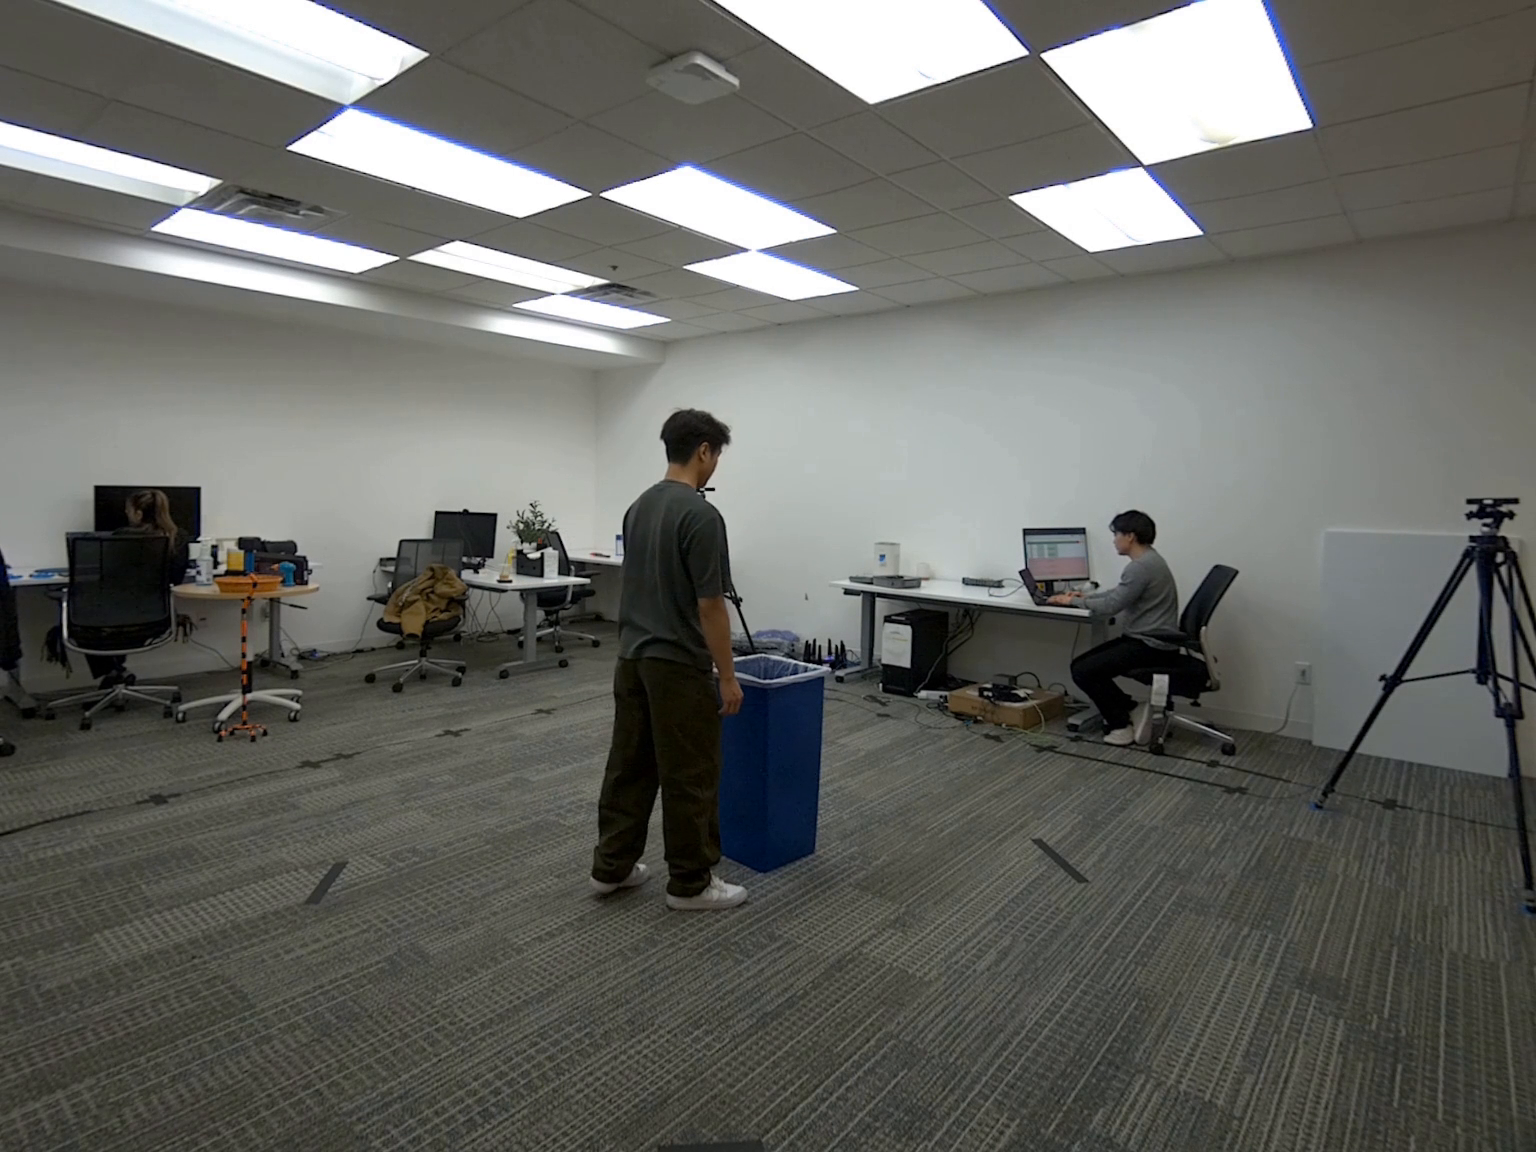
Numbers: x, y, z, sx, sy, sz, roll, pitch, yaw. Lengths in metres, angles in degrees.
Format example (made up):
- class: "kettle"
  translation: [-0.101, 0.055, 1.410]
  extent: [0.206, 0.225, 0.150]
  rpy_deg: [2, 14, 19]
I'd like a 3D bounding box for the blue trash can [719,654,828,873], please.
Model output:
- class: "blue trash can"
  translation: [-0.030, 0.697, 3.268]
  extent: [0.387, 0.711, 0.367]
  rpy_deg: [5, 5, 43]
